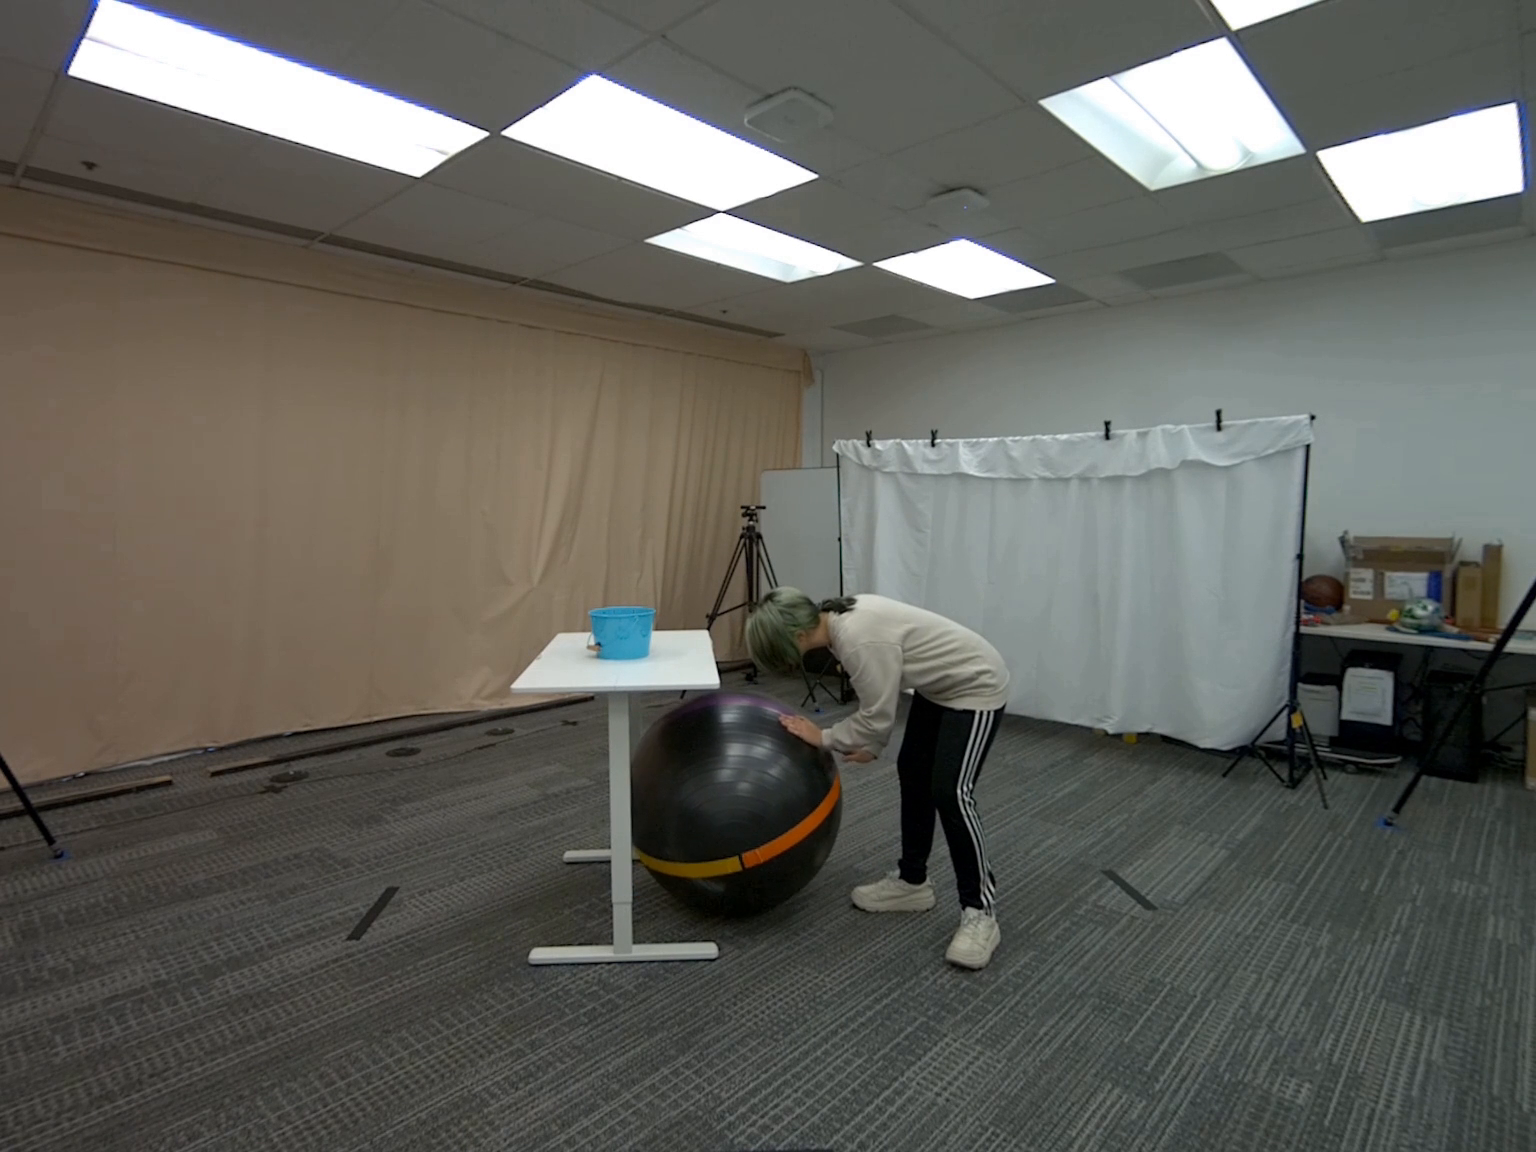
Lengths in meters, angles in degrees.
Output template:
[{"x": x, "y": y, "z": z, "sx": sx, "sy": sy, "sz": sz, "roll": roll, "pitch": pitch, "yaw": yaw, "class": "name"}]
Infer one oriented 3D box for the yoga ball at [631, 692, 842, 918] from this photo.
[{"x": -0.122, "y": 0.781, "z": 2.947, "sx": 0.757, "sy": 0.756, "sz": 0.760, "roll": 0, "pitch": 4, "yaw": -2, "class": "yoga ball"}]
